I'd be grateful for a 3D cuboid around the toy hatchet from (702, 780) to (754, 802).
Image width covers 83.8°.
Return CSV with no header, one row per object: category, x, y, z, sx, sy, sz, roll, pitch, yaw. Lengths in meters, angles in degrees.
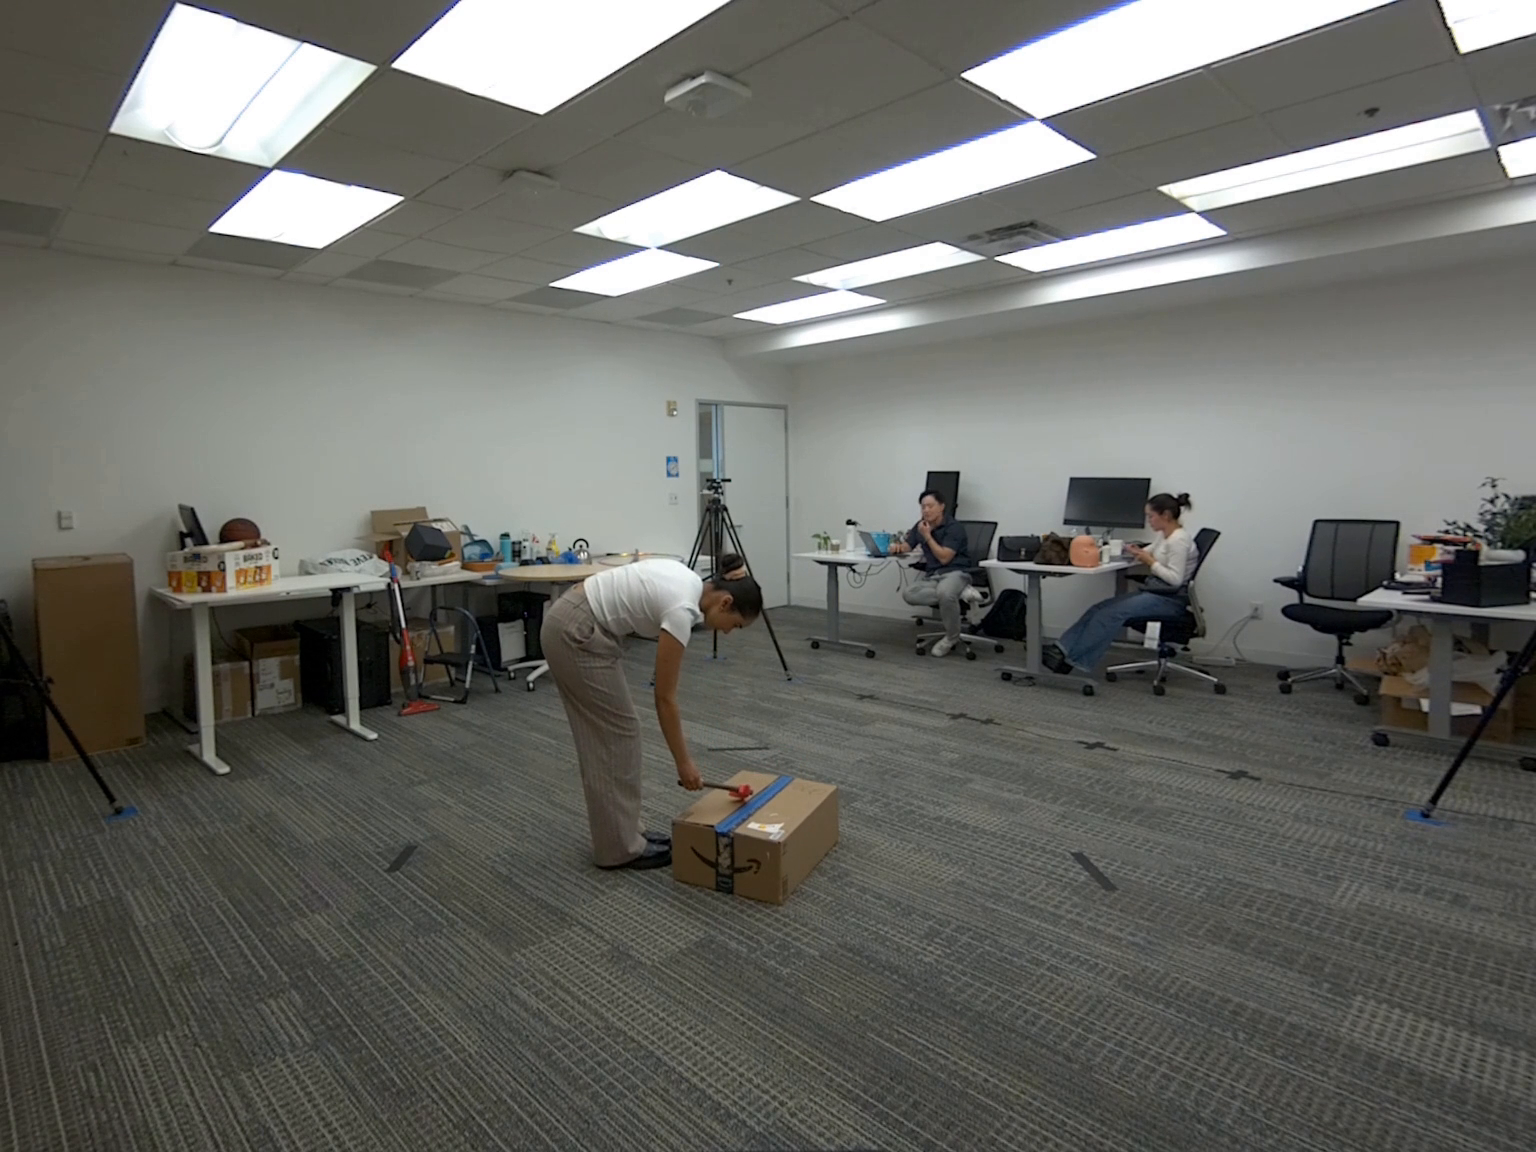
toy hatchet,-0.188,0.775,3.119,0.274,0.030,0.127,1,-35,13
